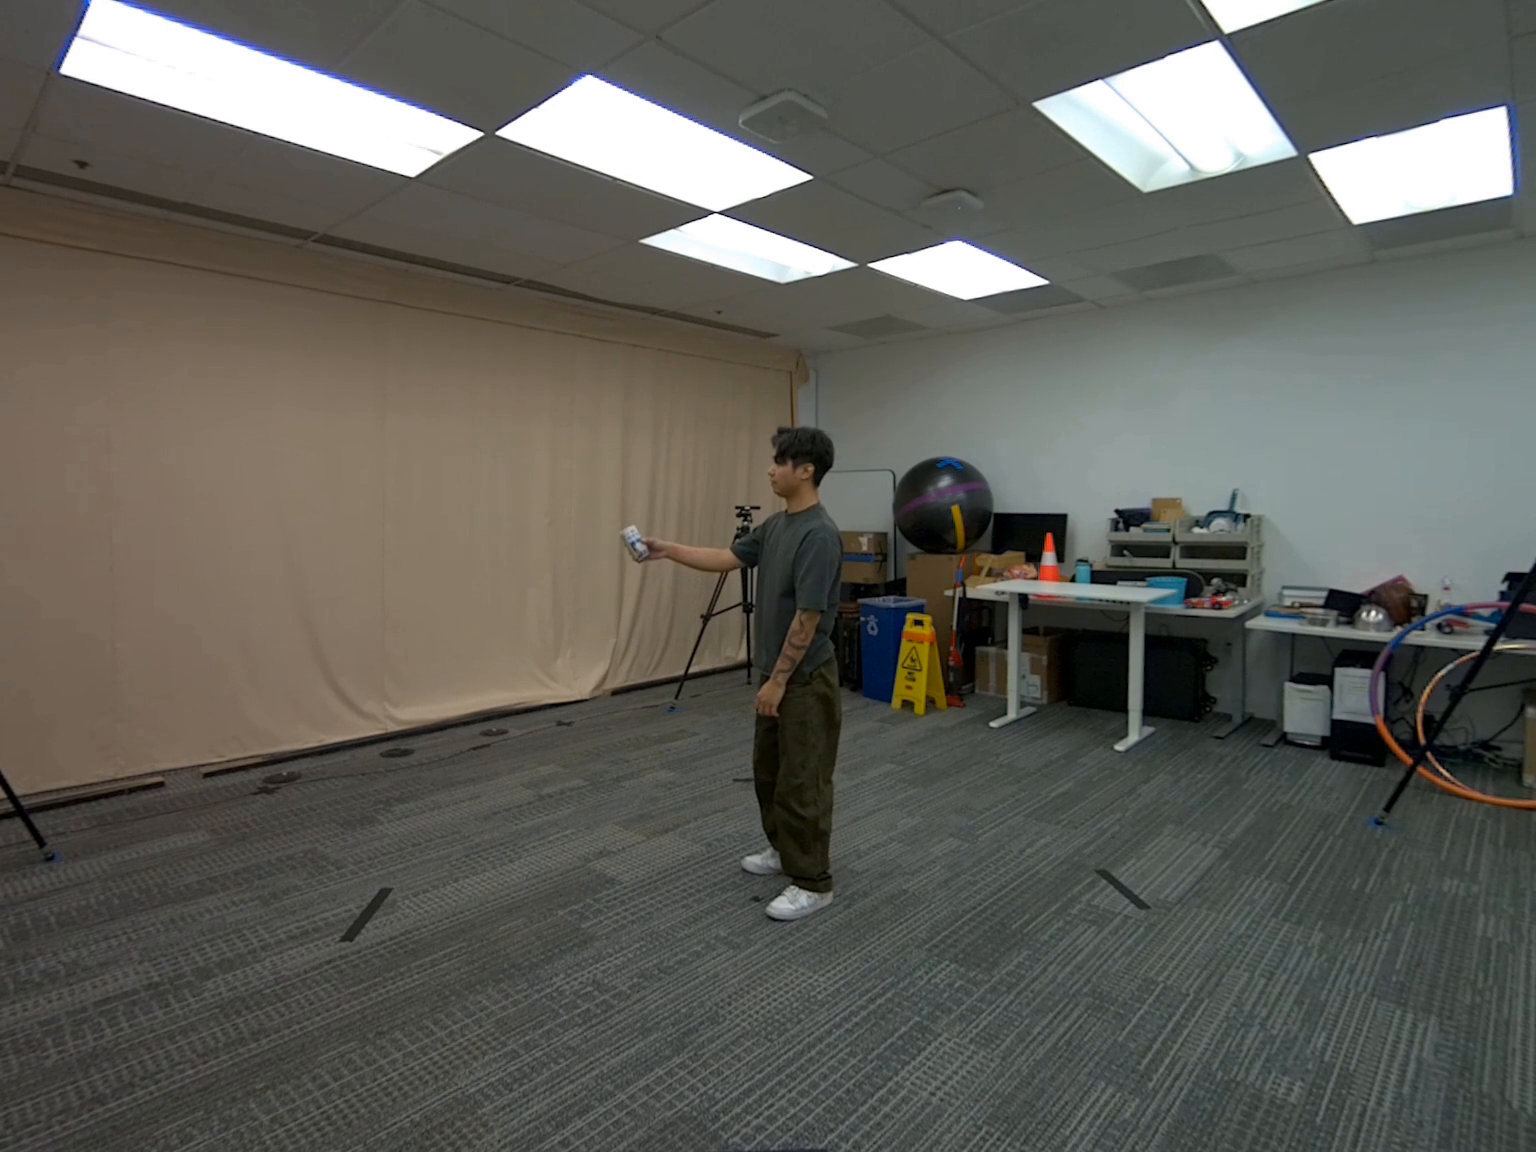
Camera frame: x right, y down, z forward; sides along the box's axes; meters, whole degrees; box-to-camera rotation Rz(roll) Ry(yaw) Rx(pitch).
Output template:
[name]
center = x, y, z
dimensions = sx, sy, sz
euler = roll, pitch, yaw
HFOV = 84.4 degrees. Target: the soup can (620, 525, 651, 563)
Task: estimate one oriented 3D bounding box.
[soup can]
center = -0.471, -0.088, 3.052
dimensions = 0.067, 0.122, 0.067
euler = -24, -1, -2
